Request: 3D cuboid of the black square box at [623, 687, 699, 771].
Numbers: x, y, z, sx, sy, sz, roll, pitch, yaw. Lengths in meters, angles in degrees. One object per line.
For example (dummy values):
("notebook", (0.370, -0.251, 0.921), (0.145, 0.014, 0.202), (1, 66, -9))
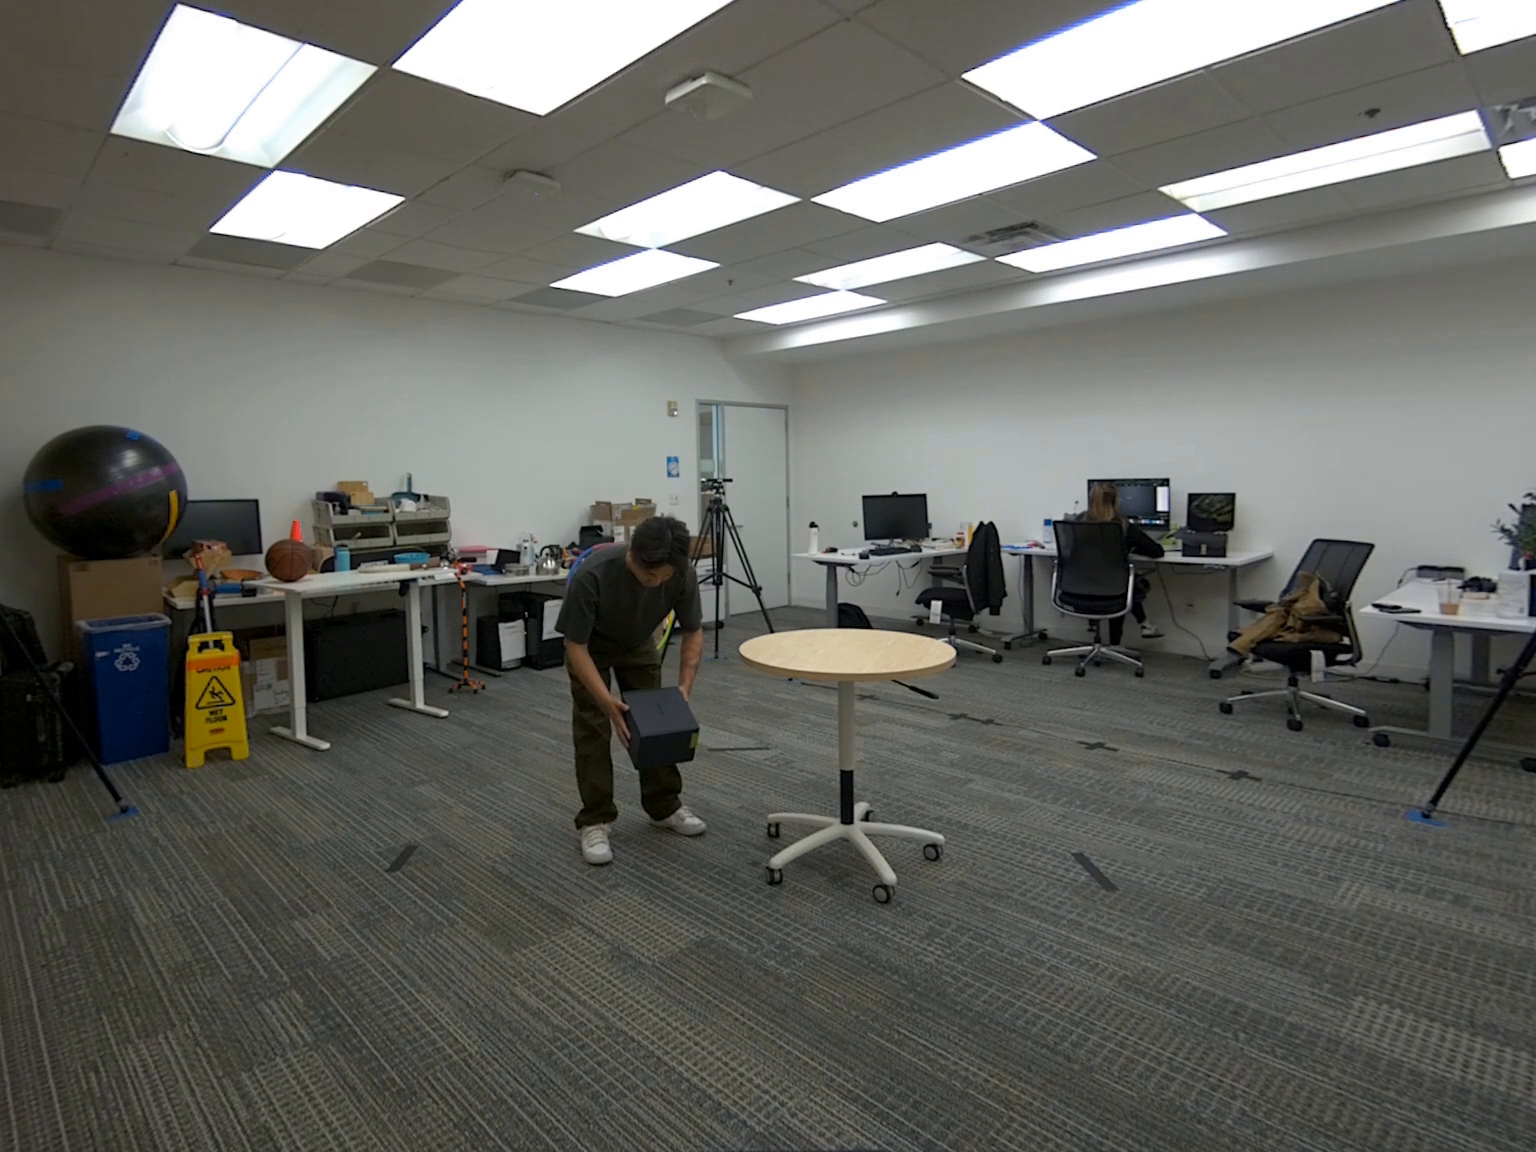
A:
("black square box", (-0.381, 0.532, 2.984), (0.212, 0.153, 0.237), (-4, 33, -26))
